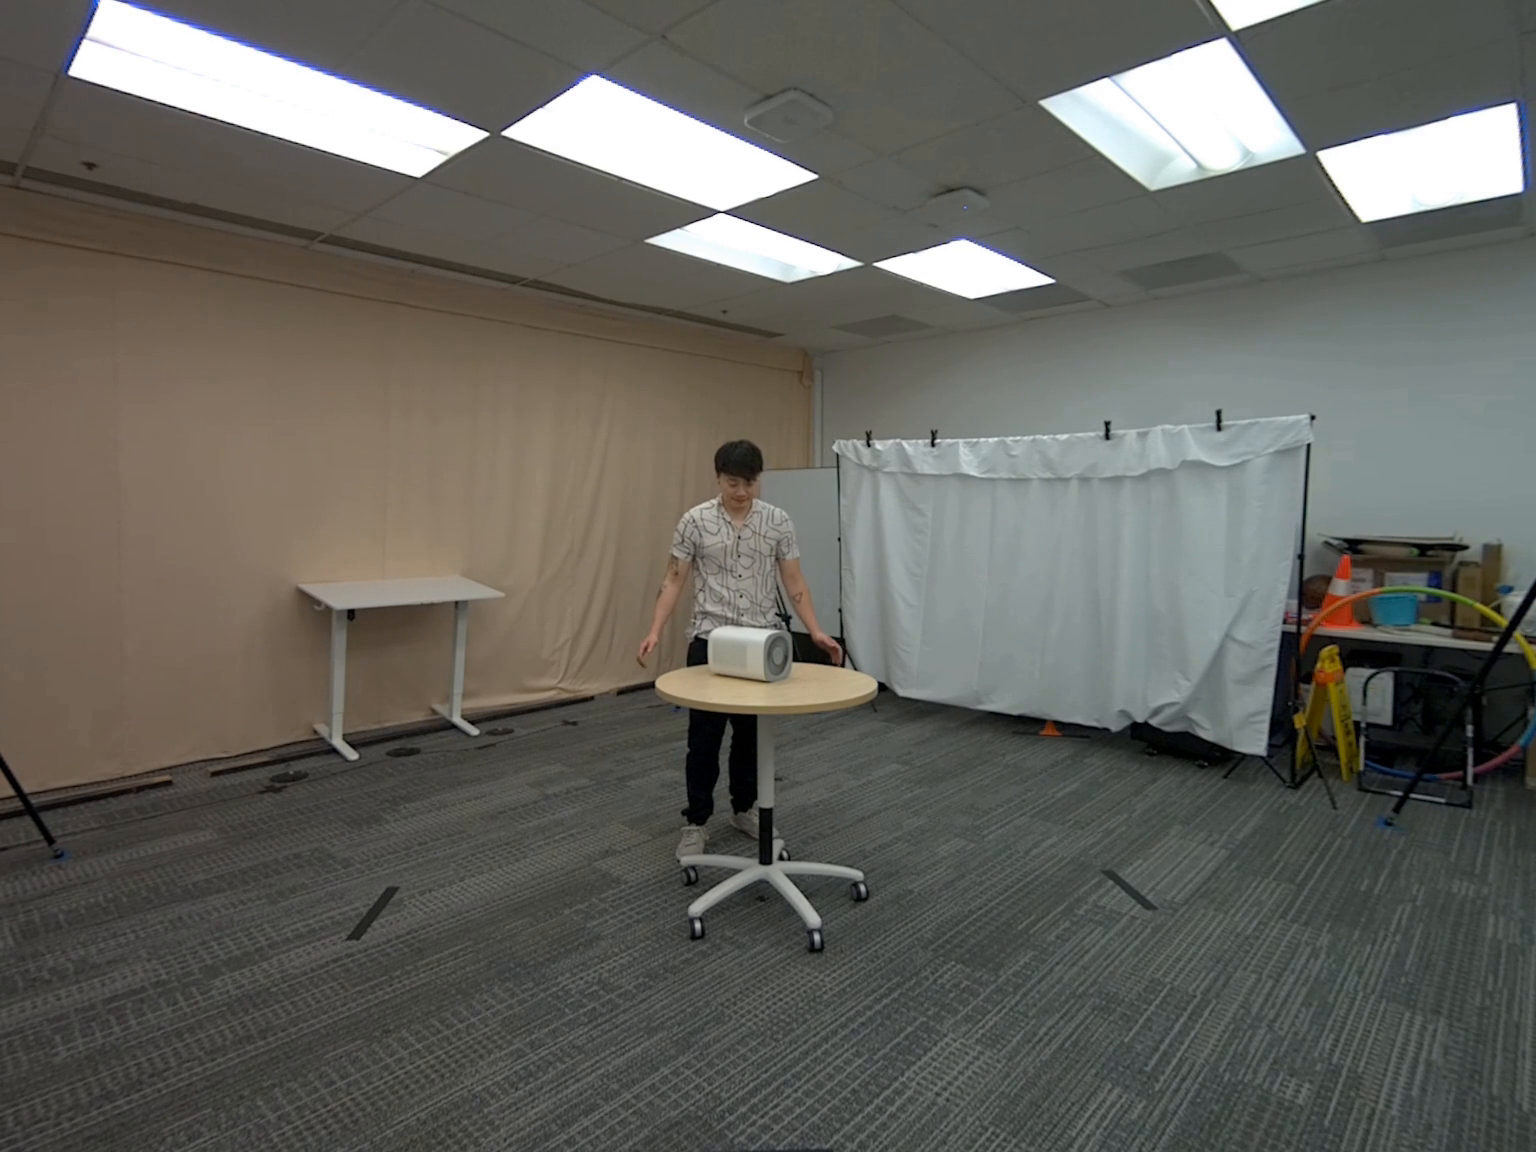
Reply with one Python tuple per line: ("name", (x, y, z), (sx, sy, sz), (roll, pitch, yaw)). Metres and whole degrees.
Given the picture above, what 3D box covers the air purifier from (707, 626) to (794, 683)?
("air purifier", (-0.071, 0.268, 3.002), (0.274, 0.171, 0.166), (3, 5, 37))
